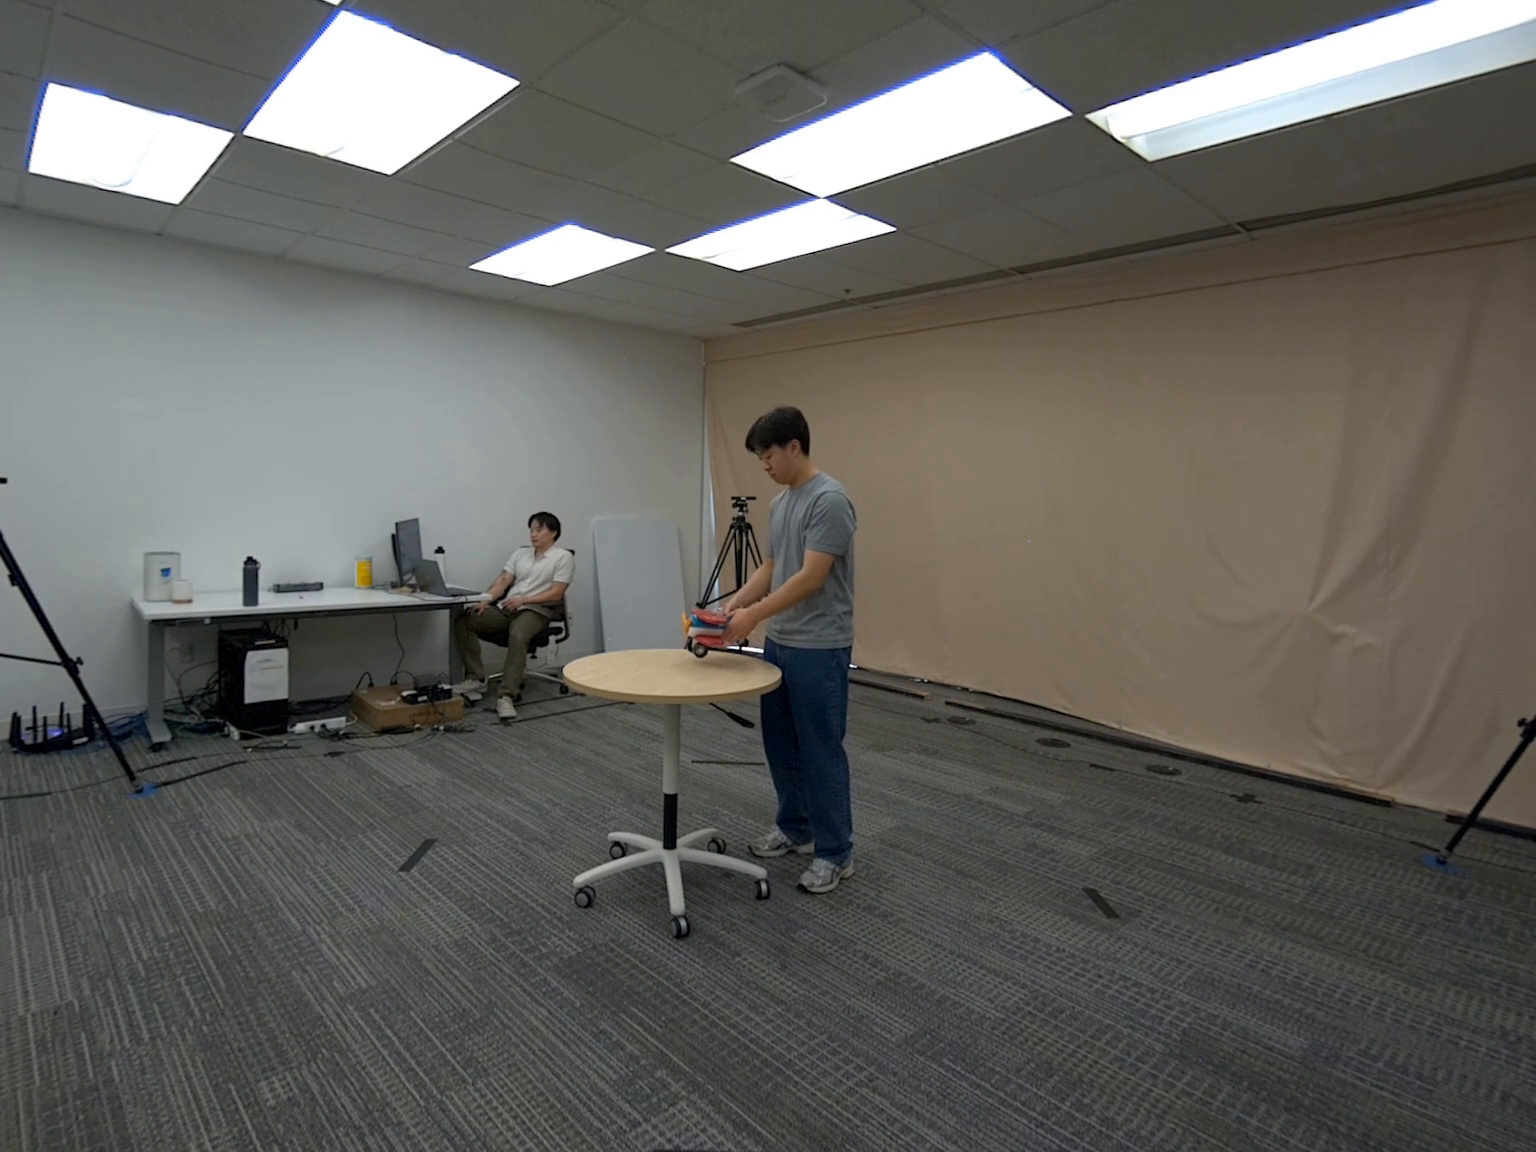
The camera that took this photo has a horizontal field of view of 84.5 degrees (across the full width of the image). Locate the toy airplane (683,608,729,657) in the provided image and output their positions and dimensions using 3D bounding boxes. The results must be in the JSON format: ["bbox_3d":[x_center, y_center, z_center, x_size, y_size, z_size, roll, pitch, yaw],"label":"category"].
[{"bbox_3d":[-0.198,0.192,3.095,0.257,0.155,0.255,4,14,42],"label":"toy airplane"}]
